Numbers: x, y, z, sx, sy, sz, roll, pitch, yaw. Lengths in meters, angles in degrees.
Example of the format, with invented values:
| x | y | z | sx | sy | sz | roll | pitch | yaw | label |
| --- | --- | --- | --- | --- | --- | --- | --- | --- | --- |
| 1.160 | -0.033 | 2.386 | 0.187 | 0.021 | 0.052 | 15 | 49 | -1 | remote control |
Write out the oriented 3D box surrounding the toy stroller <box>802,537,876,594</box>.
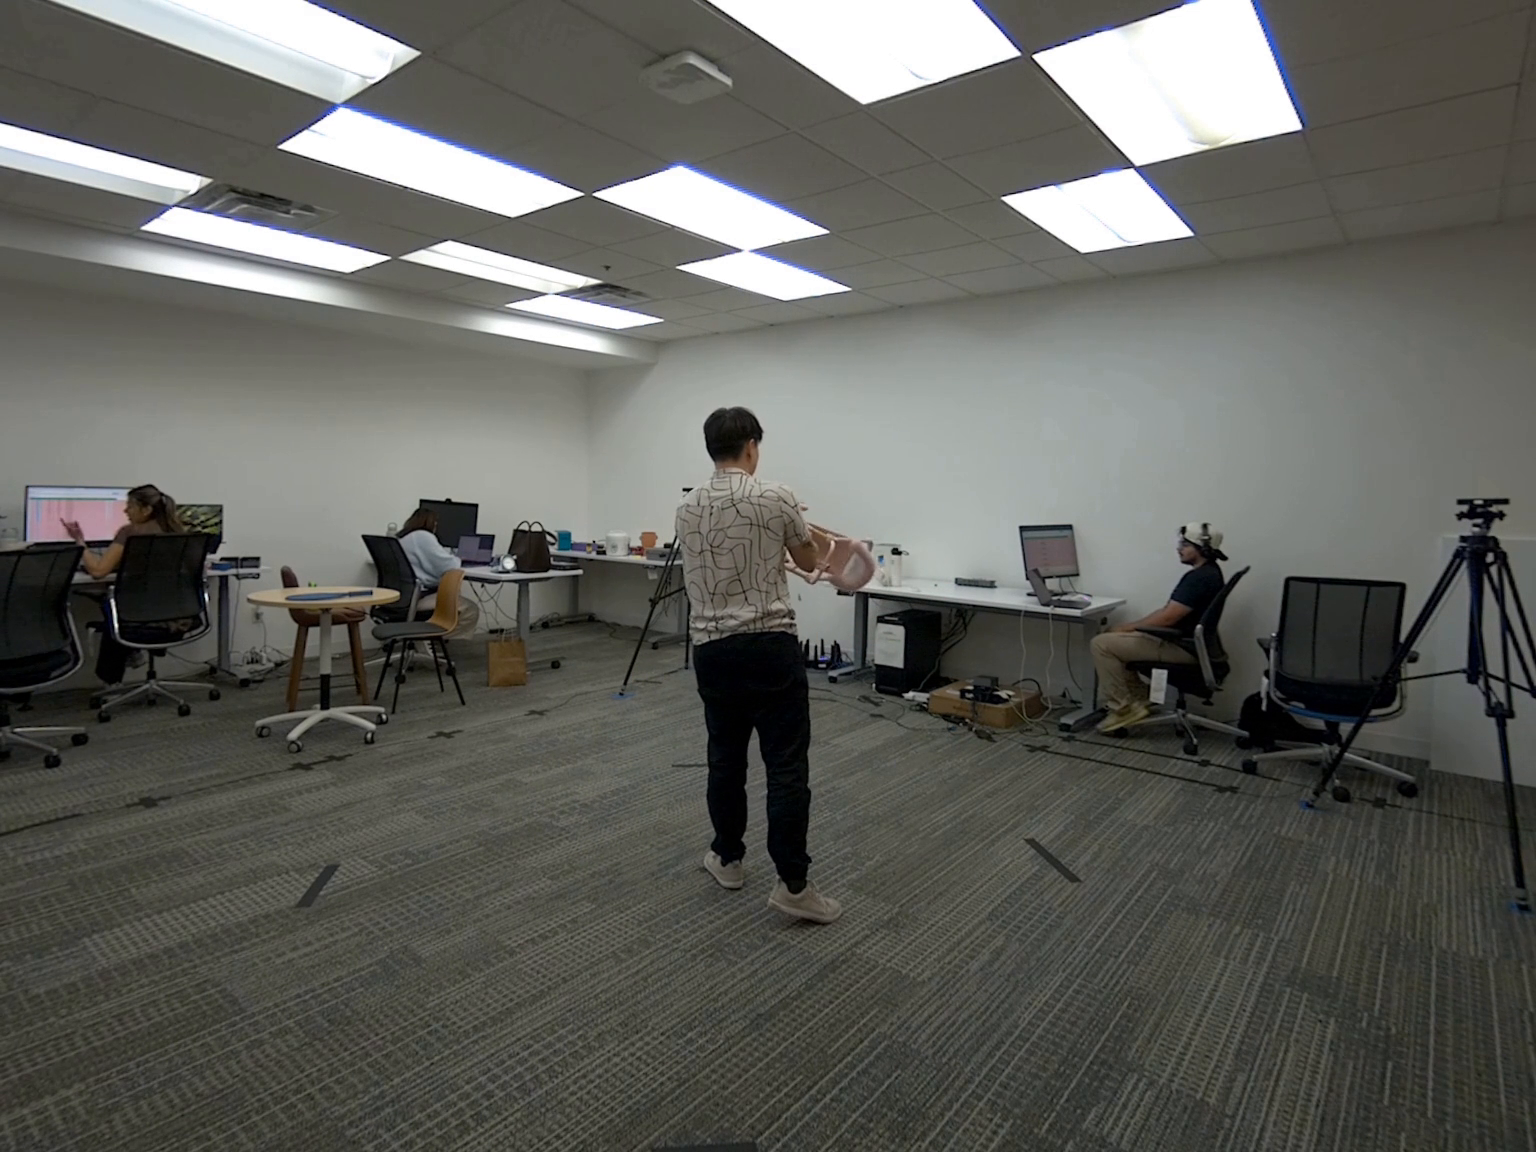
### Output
| x | y | z | sx | sy | sz | roll | pitch | yaw | label |
| --- | --- | --- | --- | --- | --- | --- | --- | --- | --- |
| 0.207 | -0.100 | 3.435 | 0.526 | 0.280 | 0.349 | 23 | 14 | -13 | toy stroller |
